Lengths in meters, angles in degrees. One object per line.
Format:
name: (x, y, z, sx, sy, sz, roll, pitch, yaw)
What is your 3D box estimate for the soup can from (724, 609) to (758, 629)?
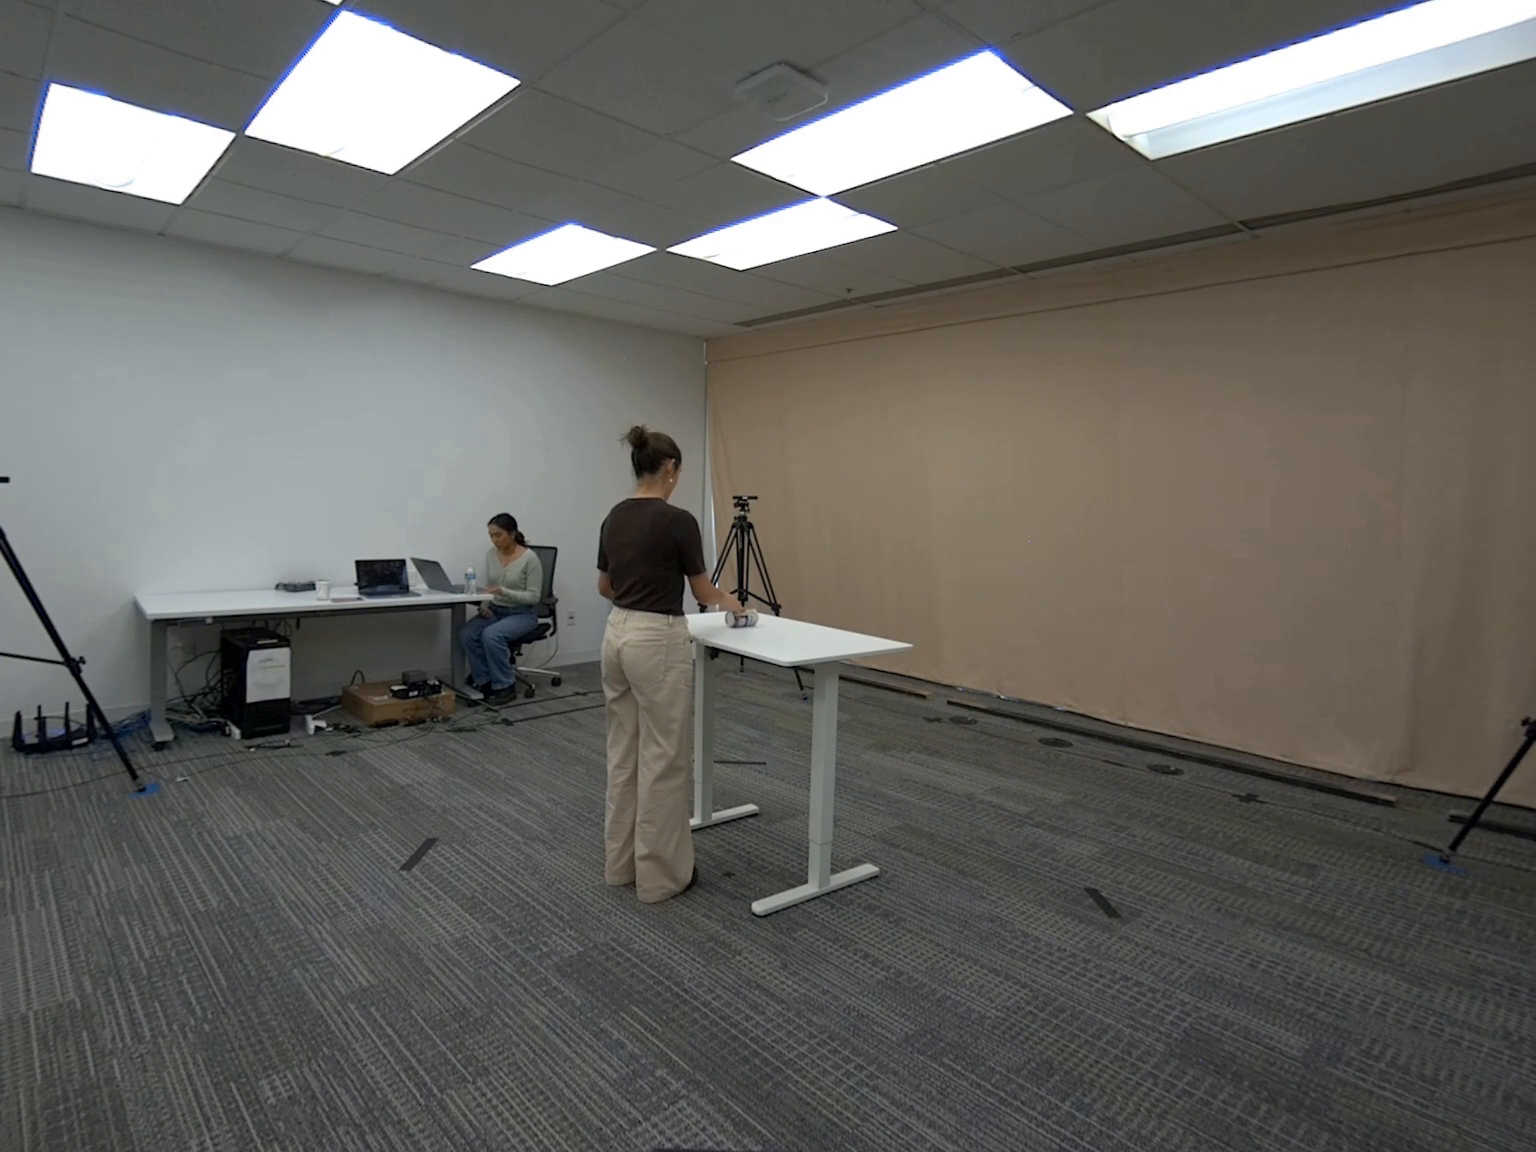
soup can: (-0.111, 0.165, 3.317, 0.119, 0.067, 0.069, -2, 5, -33)
